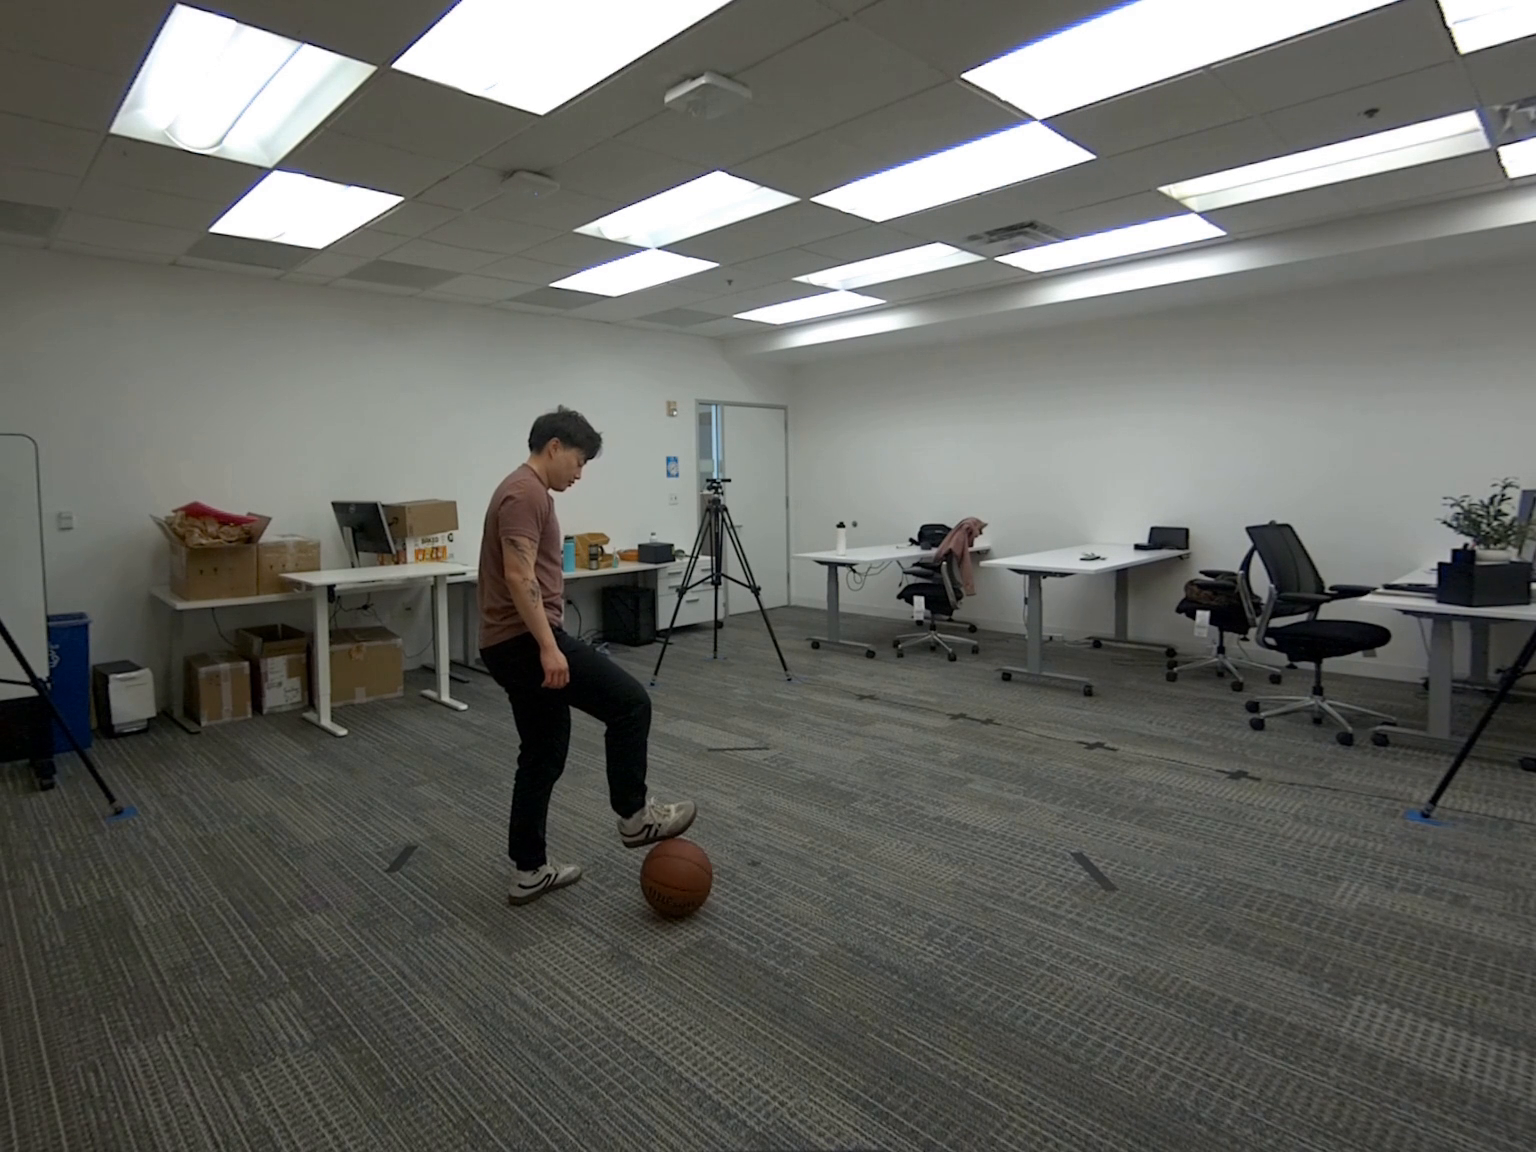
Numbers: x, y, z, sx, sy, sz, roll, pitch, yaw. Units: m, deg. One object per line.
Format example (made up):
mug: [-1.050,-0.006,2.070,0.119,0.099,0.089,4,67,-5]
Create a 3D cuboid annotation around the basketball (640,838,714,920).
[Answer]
basketball: [-0.294,0.973,2.753,0.236,0.235,0.237,-1,5,-2]
